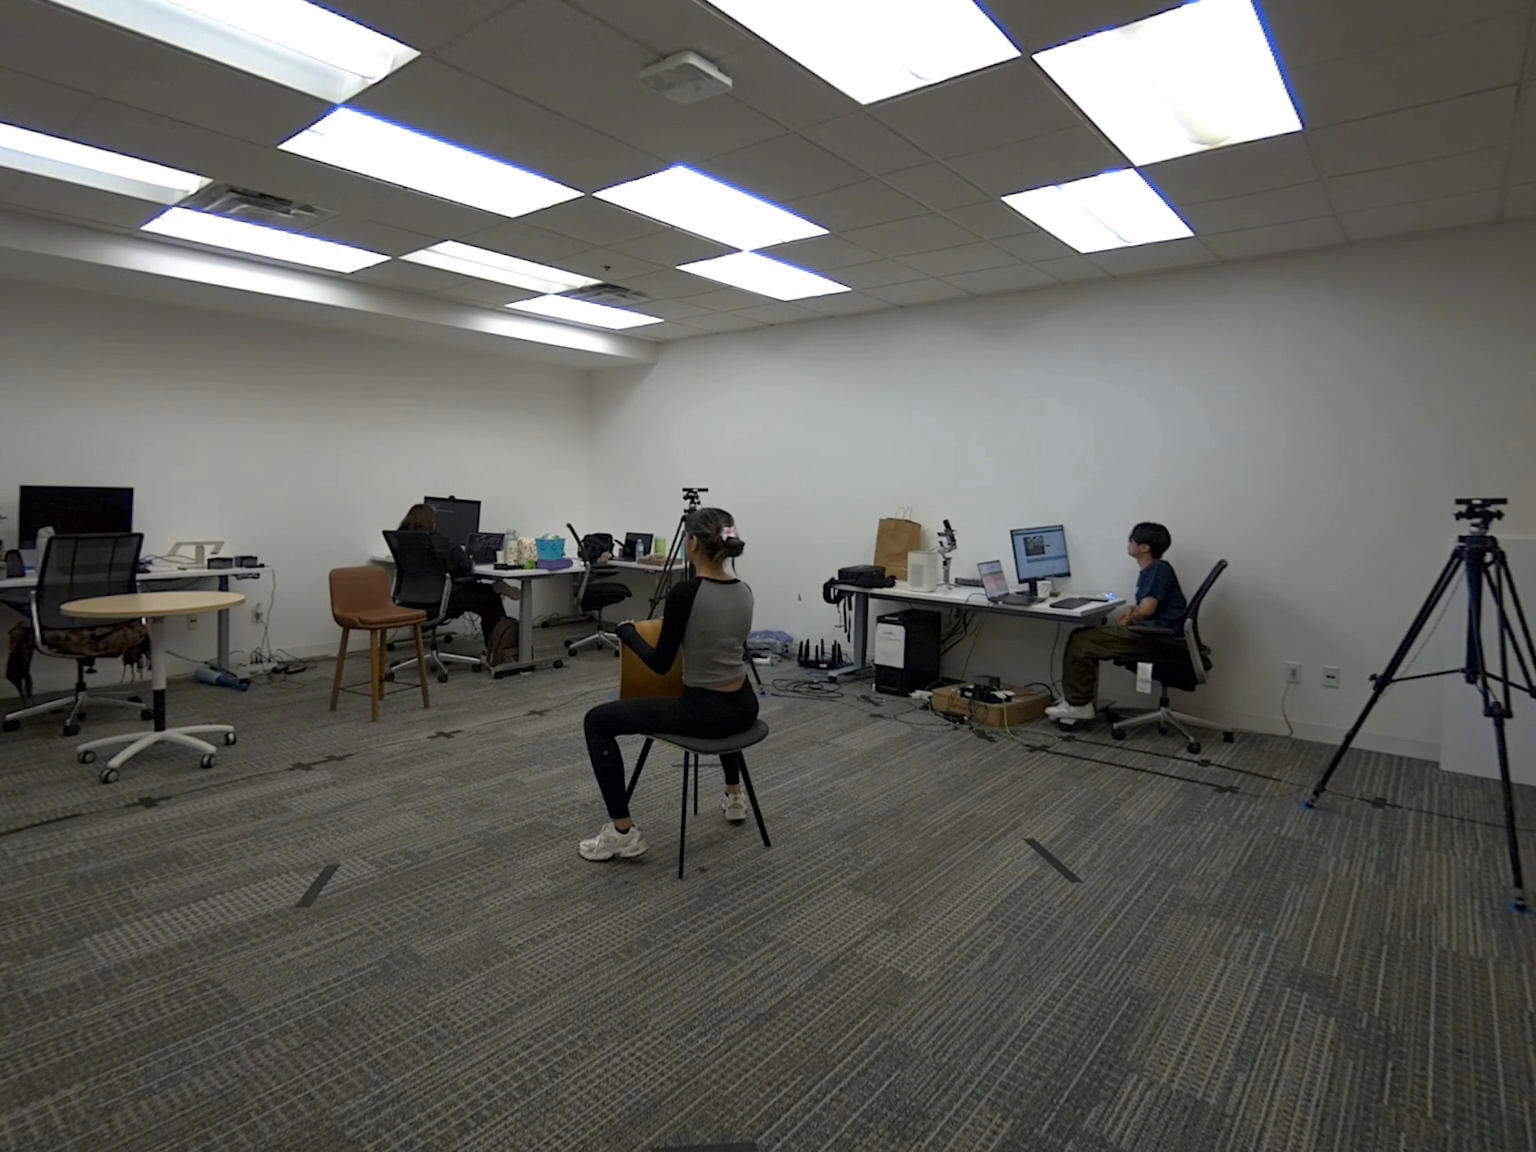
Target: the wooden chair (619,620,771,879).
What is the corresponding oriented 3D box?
[{"bbox_3d":[-0.302,0.623,3.306,0.463,0.878,0.539,-2,-1,-43],"label":"wooden chair"}]
